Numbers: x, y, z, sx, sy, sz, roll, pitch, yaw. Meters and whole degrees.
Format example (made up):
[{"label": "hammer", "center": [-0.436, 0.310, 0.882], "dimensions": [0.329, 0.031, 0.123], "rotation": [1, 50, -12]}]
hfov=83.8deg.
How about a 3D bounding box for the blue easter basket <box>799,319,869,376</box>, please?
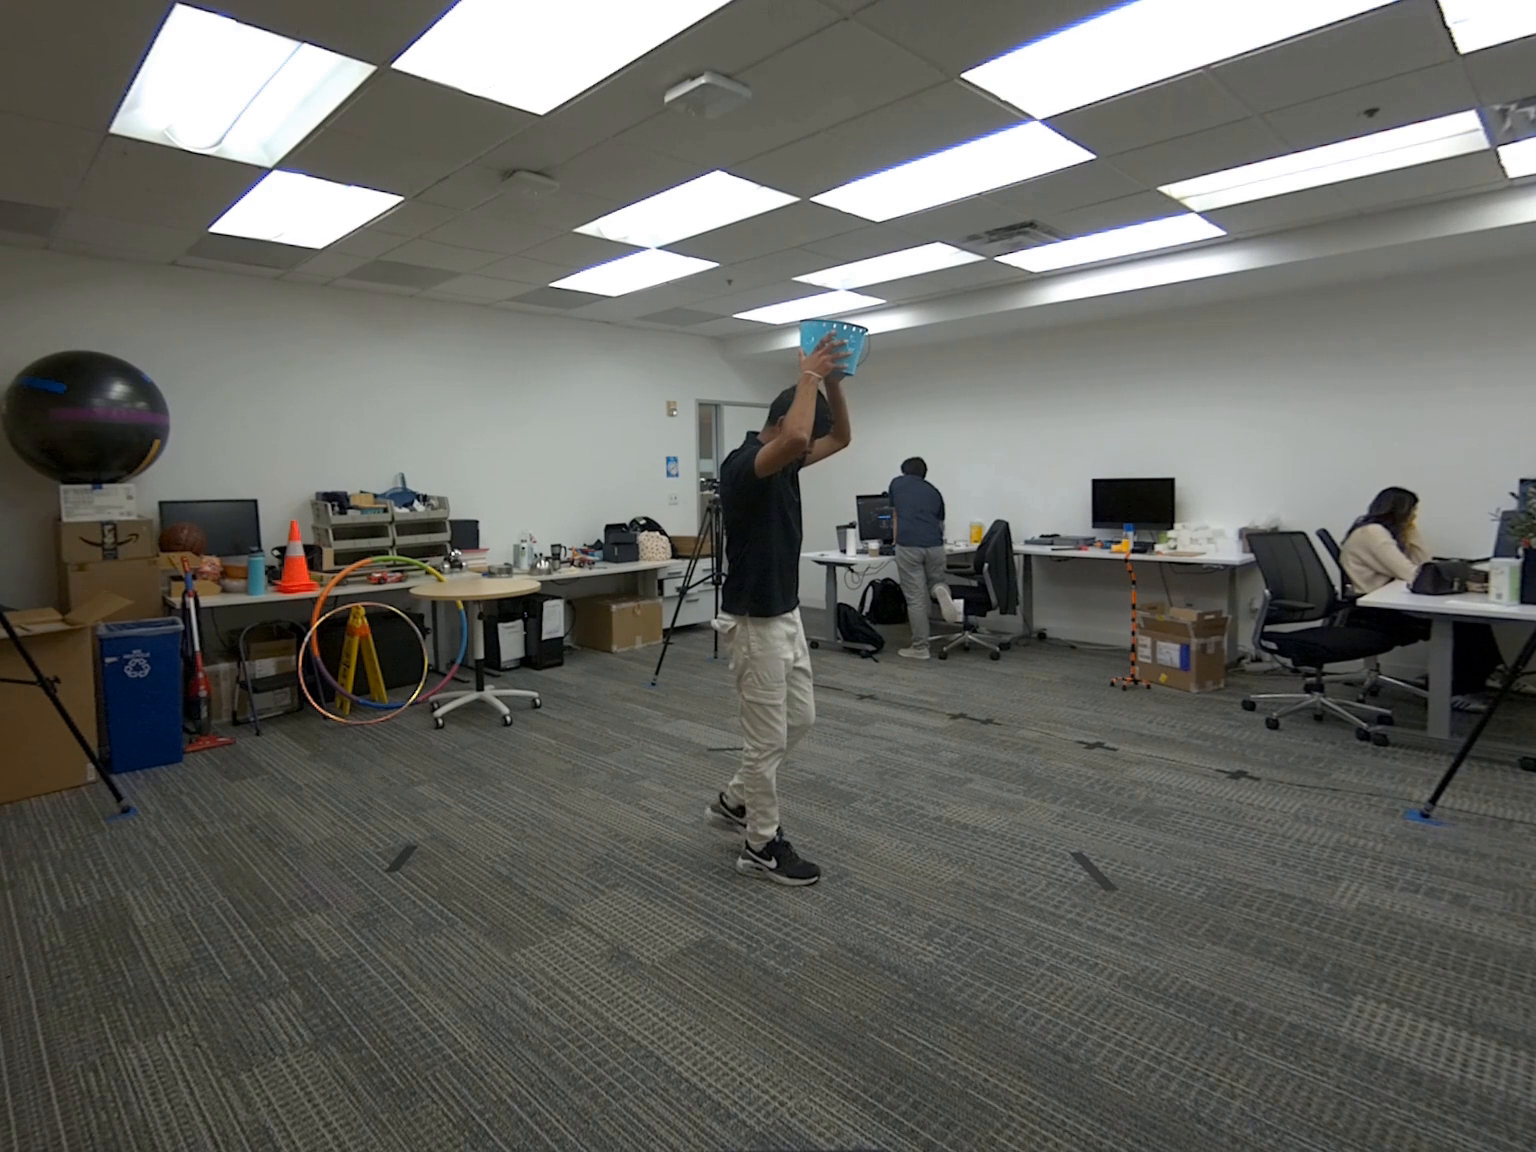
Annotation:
[{"label": "blue easter basket", "center": [0.210, -0.753, 2.827], "dimensions": [0.243, 0.155, 0.245], "rotation": [9, 7, -3]}]
